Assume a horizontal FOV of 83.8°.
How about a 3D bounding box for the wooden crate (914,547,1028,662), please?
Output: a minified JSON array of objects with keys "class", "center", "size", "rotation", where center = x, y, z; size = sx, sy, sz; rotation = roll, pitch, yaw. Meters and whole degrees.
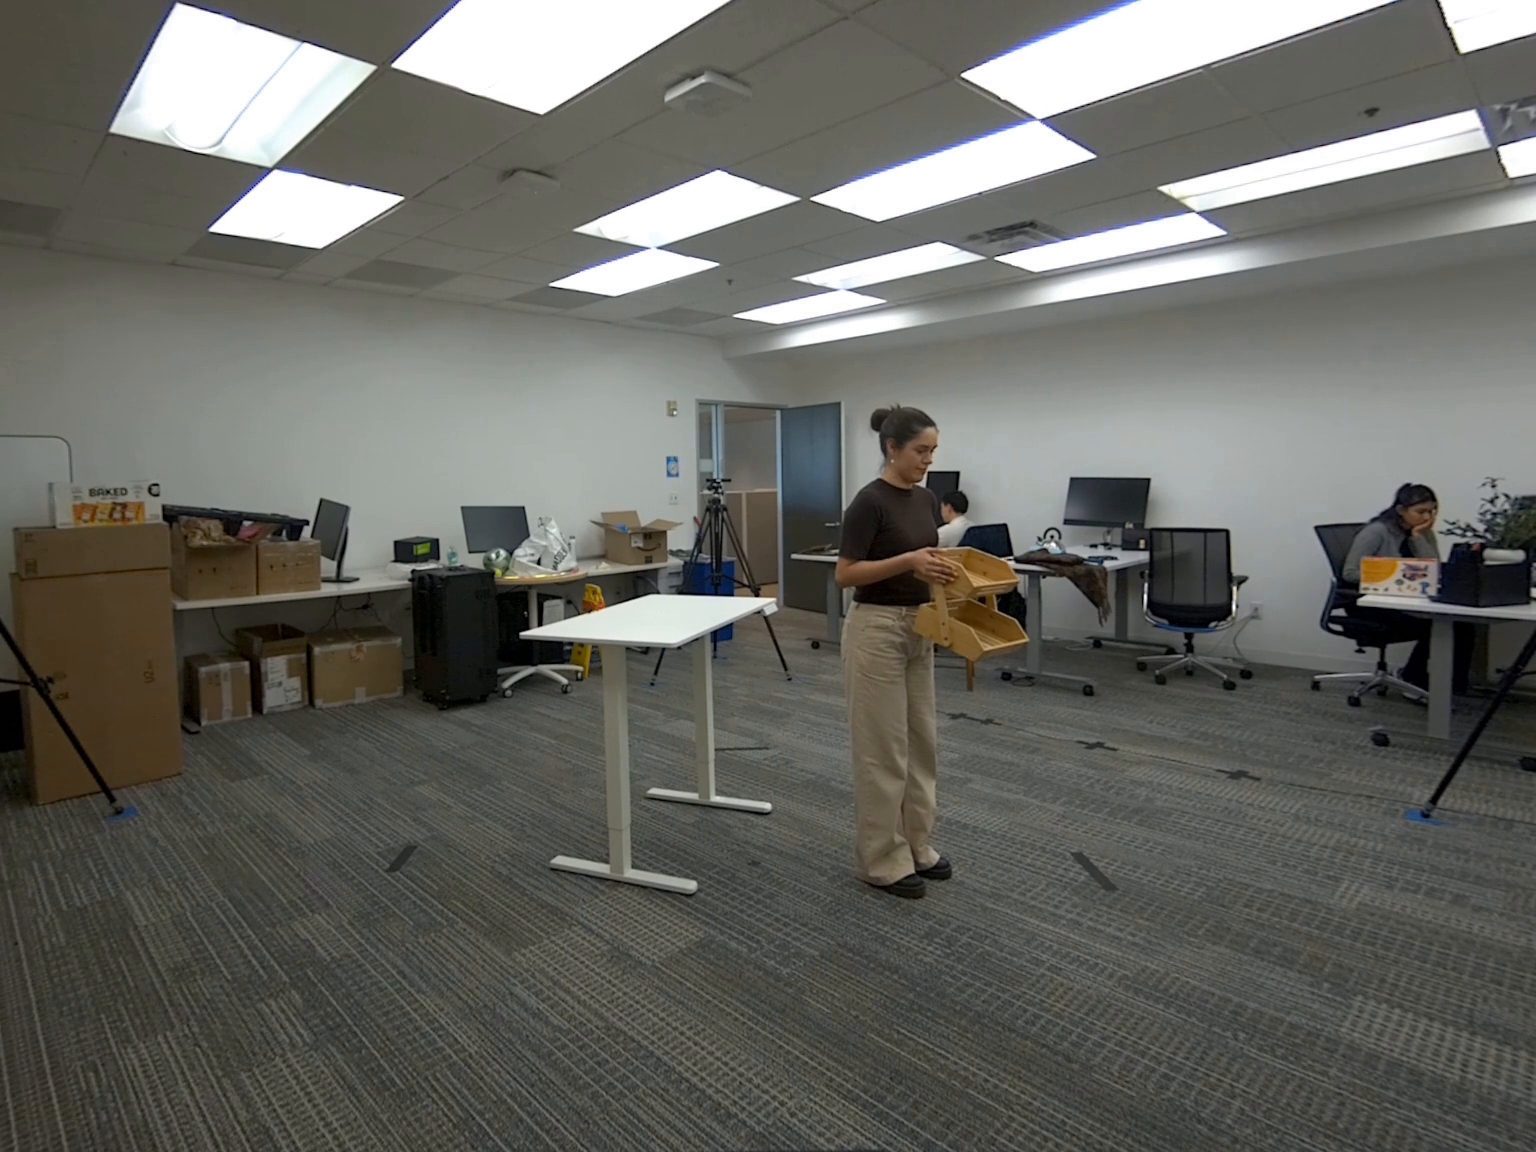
[{"class":"wooden crate","center":[0.668,0.081,2.742],"size":[0.313,0.271,0.315],"rotation":[26,19,38]}]
